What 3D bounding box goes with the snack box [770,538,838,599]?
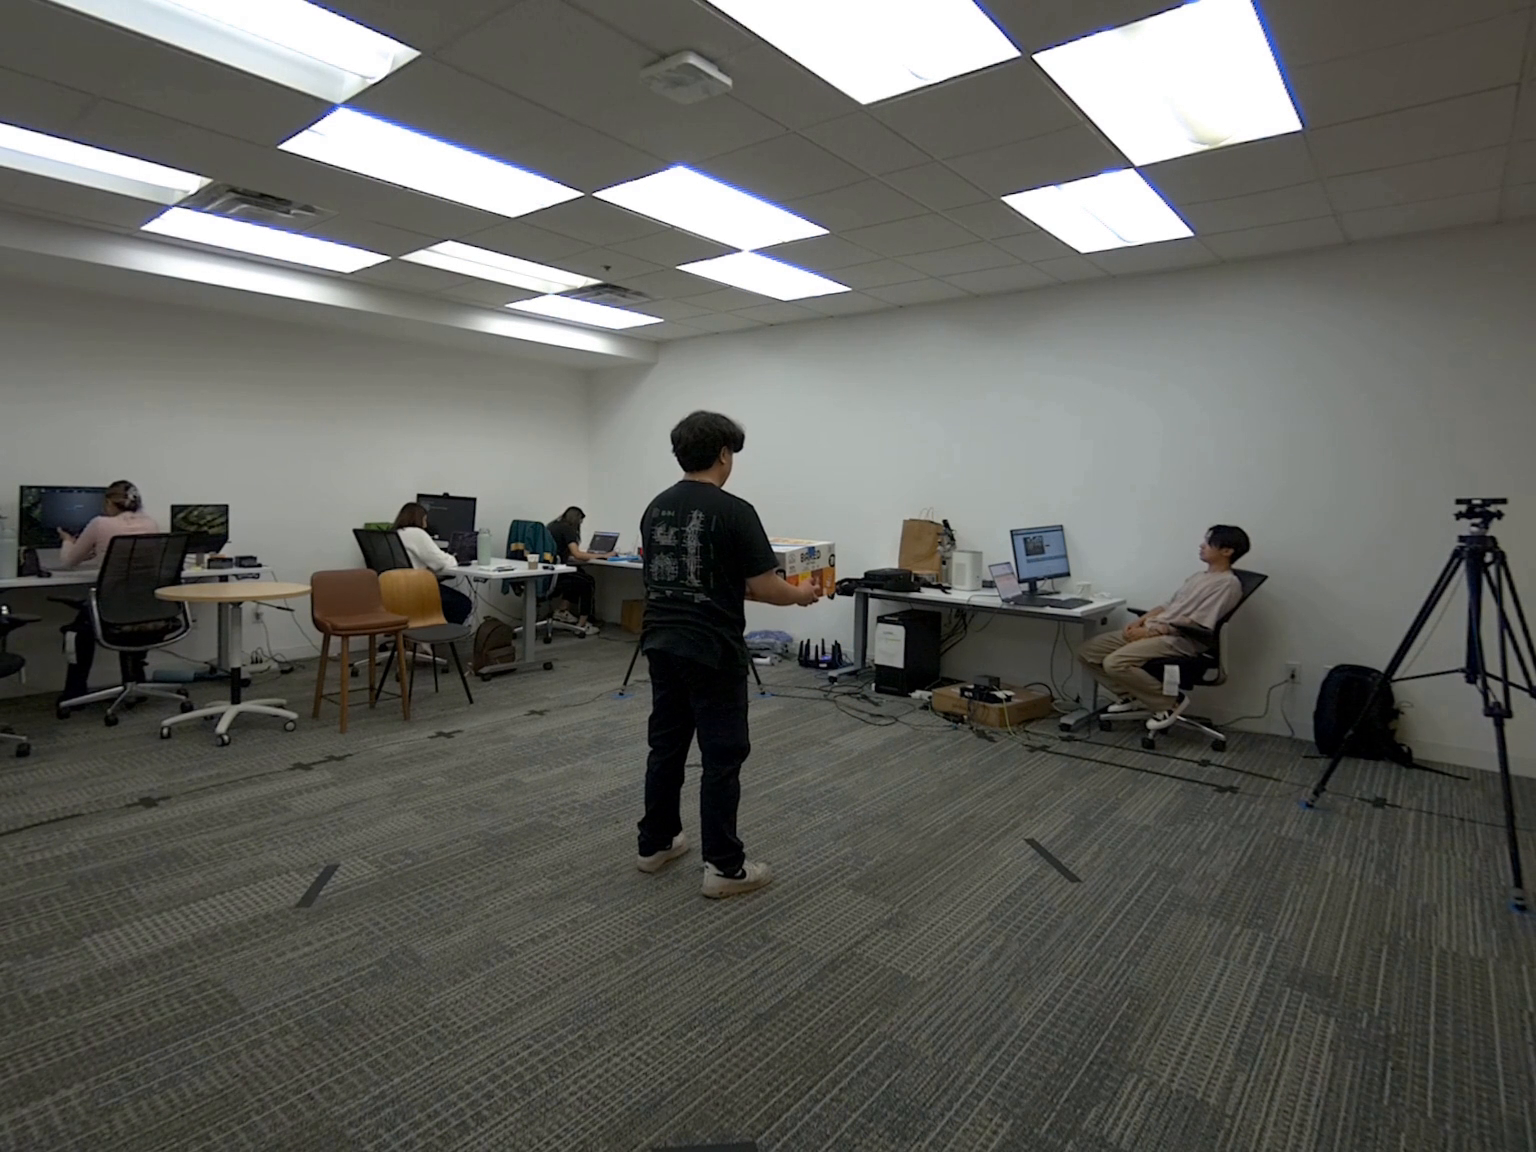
[{"bbox_3d":[-0.008,-0.031,3.350,0.419,0.204,0.331,5,10,38],"label":"snack box"}]
